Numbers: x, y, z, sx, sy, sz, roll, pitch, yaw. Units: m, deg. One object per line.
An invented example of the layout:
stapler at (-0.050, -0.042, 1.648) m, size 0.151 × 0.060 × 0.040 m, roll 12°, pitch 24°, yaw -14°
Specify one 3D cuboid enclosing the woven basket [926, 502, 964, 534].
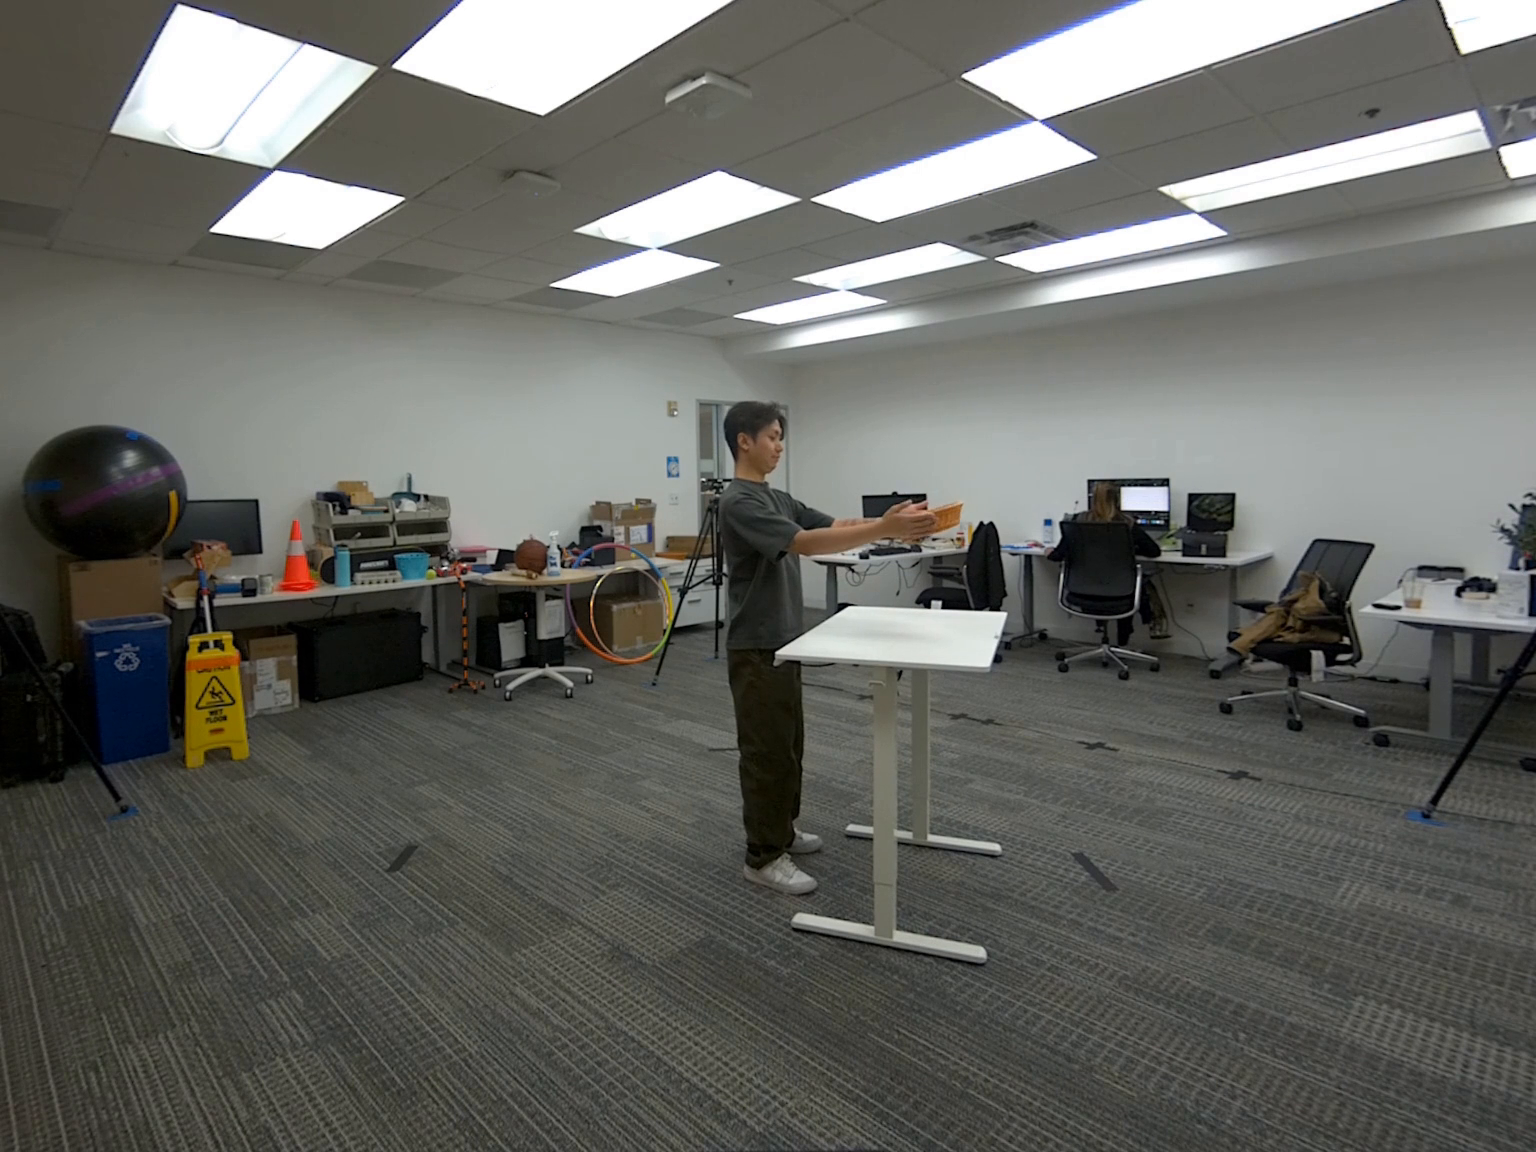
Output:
woven basket at (0.506, -0.173, 2.834) m, size 0.257 × 0.073 × 0.344 m, roll -15°, pitch 1°, yaw 30°
